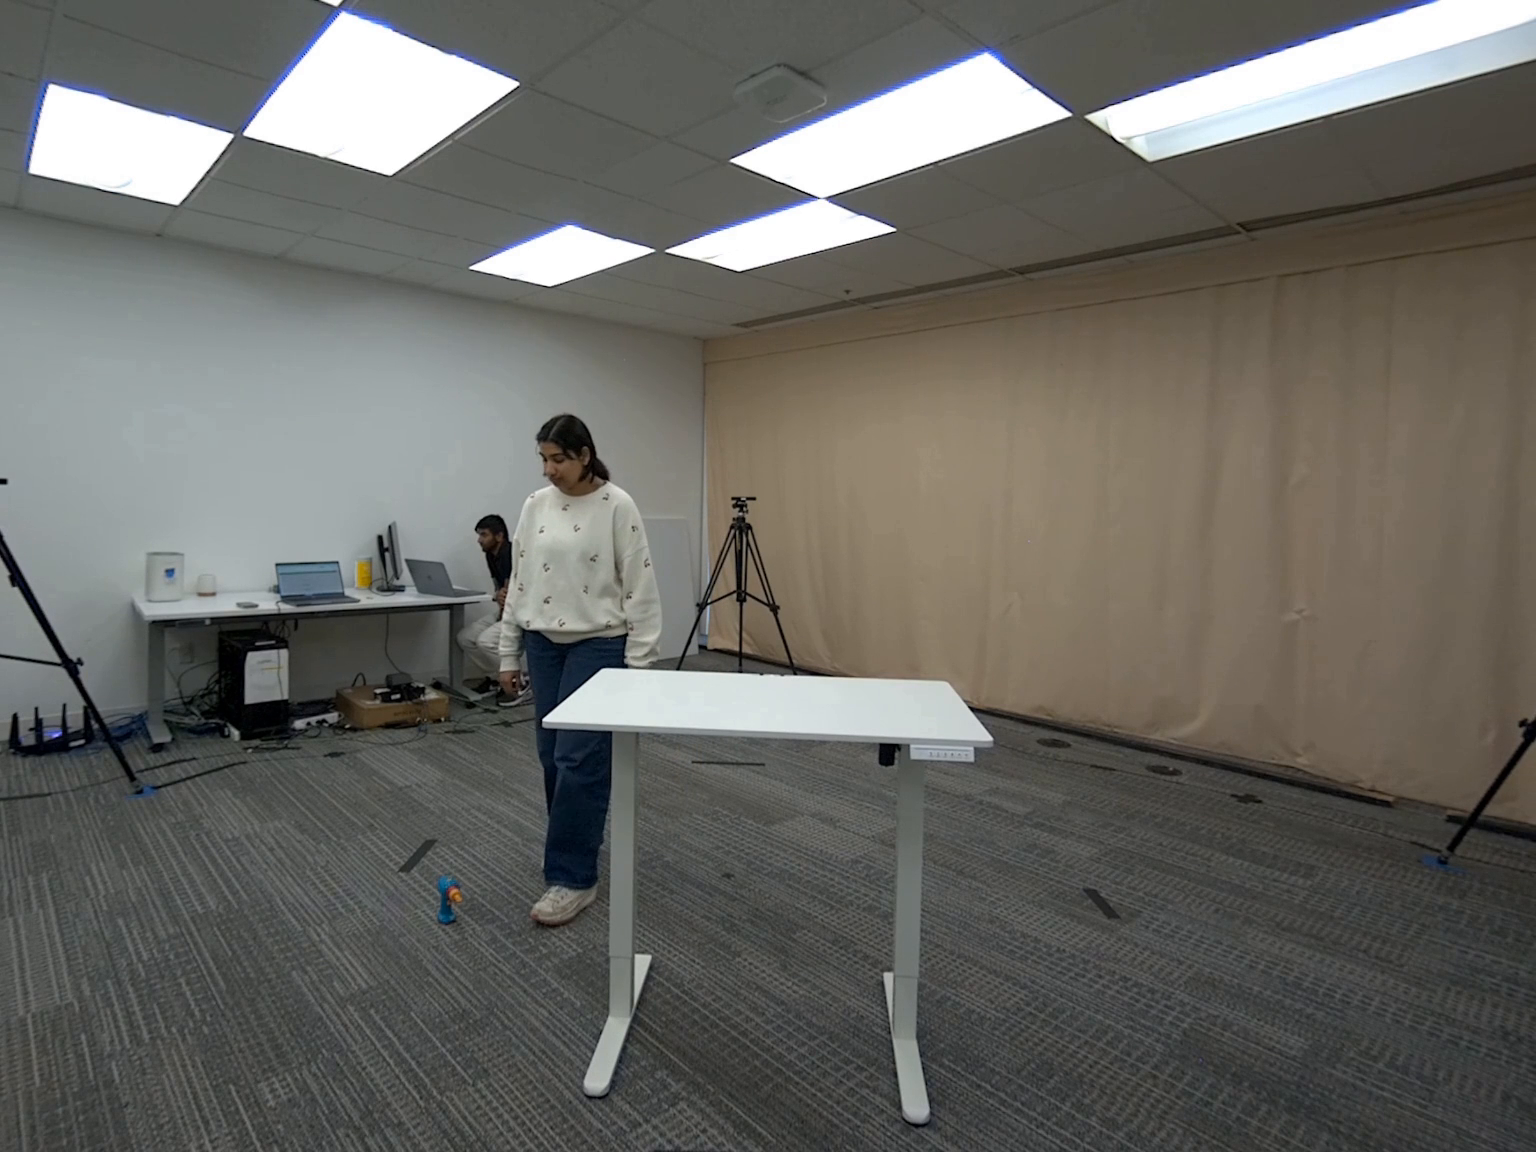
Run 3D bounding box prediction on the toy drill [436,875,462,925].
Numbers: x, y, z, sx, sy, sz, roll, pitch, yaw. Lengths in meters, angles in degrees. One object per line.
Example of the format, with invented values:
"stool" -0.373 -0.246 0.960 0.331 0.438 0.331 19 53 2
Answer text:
"toy drill" -1.028 1.055 2.701 0.060 0.145 0.174 -3 6 -42
